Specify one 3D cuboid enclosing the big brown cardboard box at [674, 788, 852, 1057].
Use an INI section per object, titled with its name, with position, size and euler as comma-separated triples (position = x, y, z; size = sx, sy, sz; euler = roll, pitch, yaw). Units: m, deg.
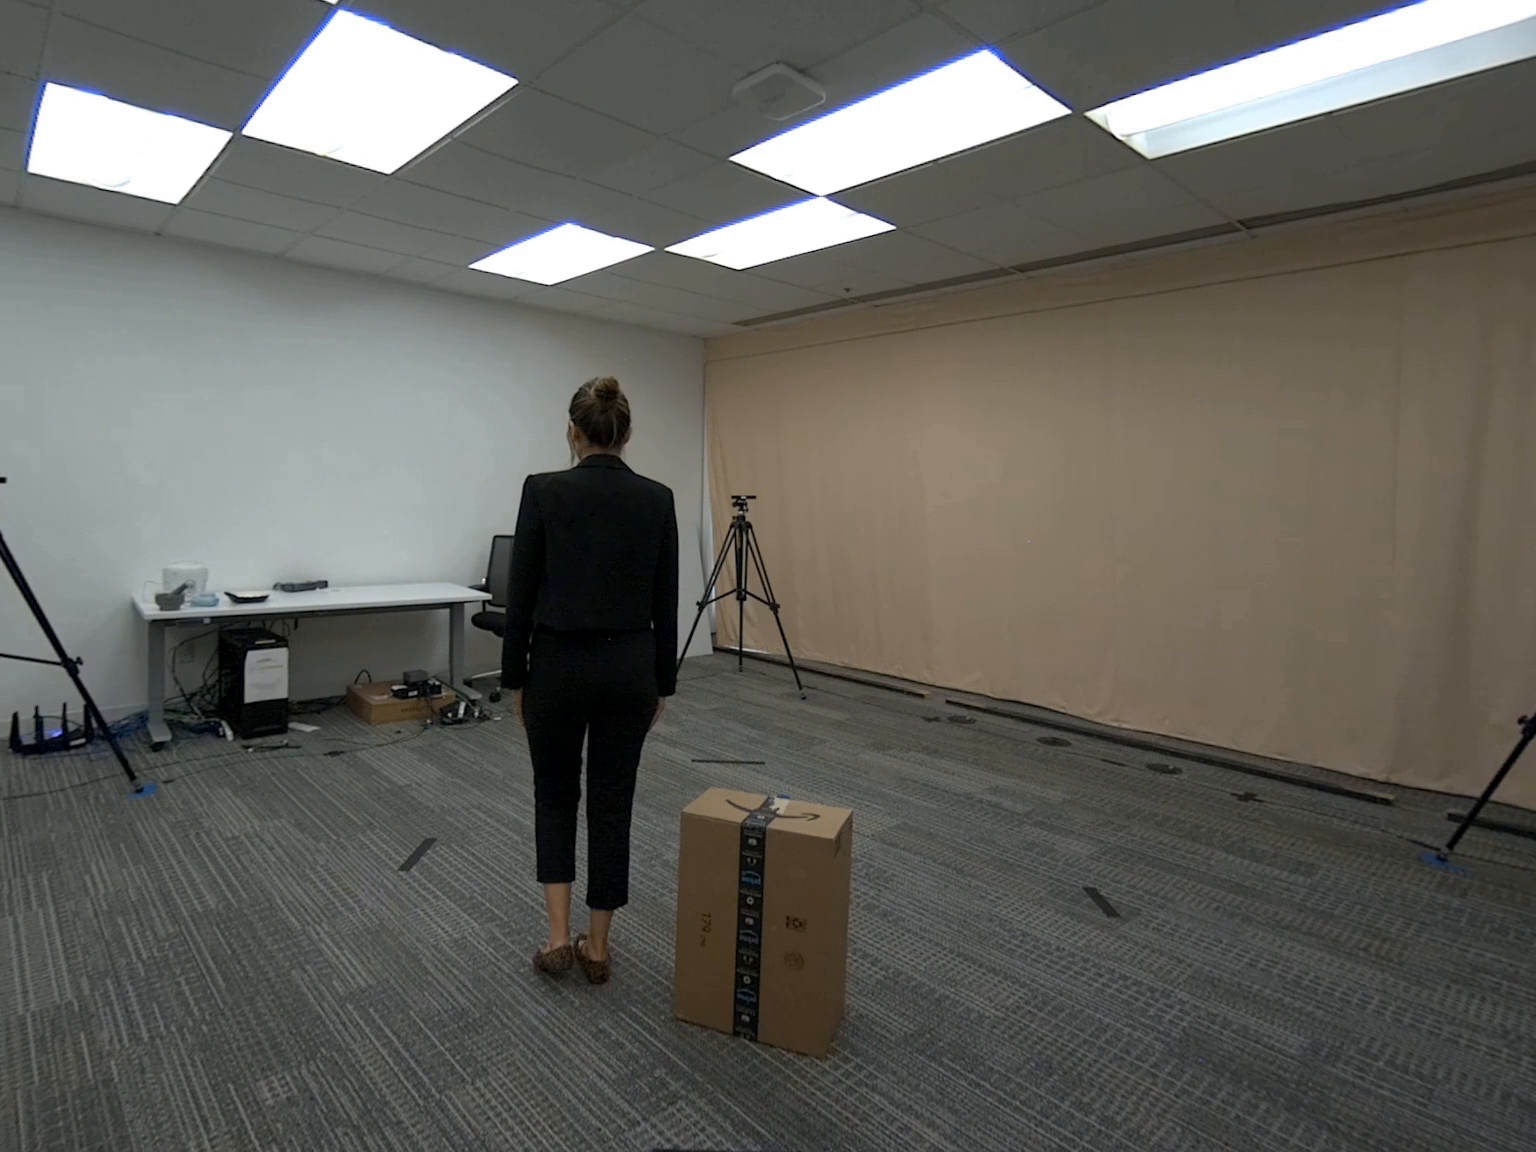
[big brown cardboard box]
position = -0.017, 0.908, 2.239
size = 0.424, 0.587, 0.230
euler = 5, 5, 20
